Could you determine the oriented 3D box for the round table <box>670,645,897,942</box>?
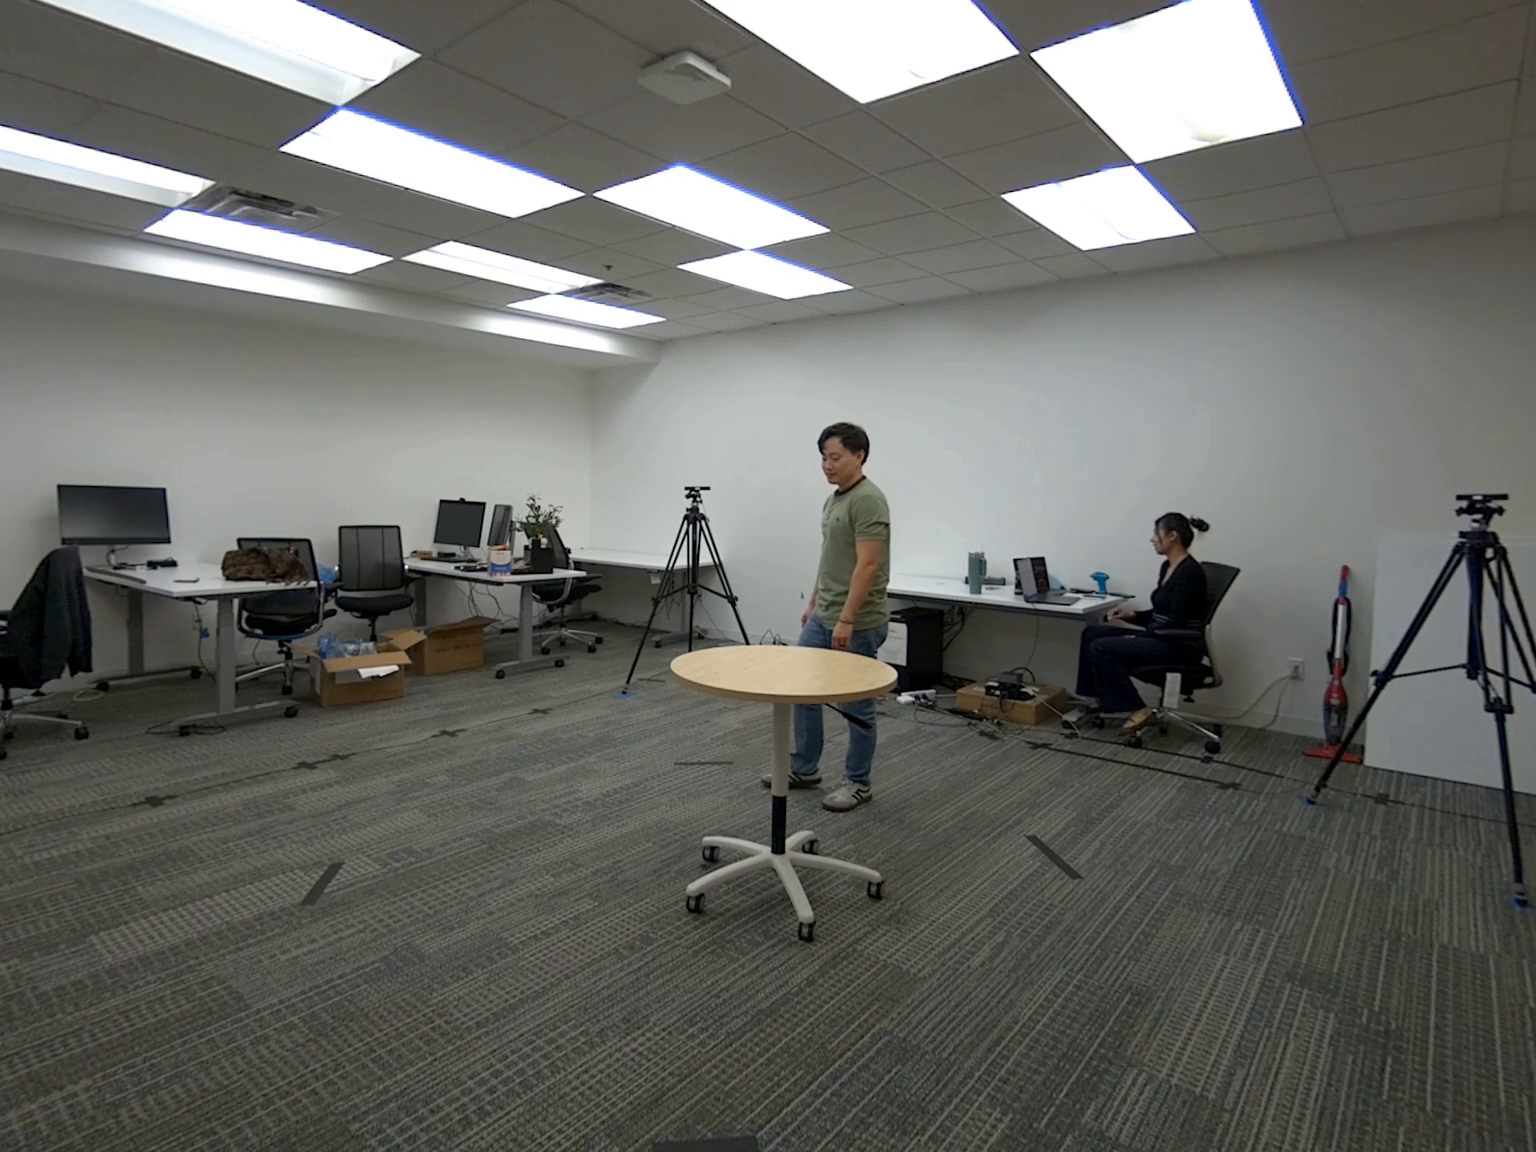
[{"bbox_3d":[0.031,0.700,2.922,0.763,0.791,0.768,1,5,-2],"label":"round table"}]
